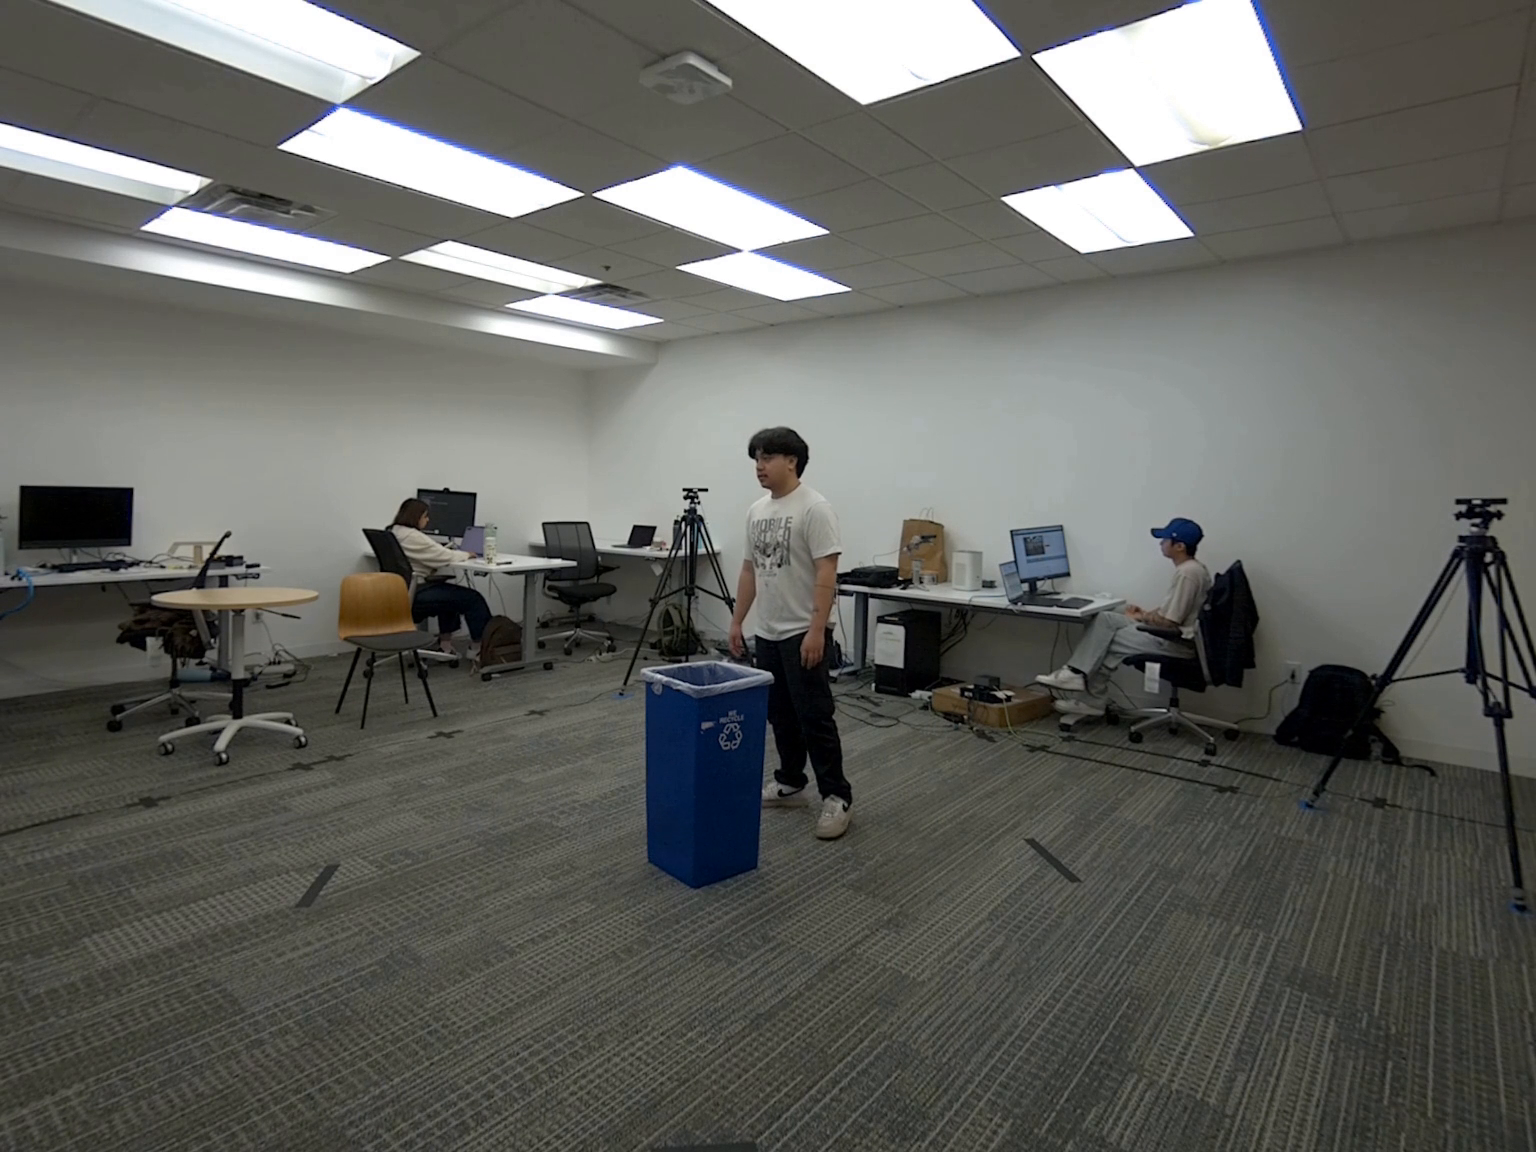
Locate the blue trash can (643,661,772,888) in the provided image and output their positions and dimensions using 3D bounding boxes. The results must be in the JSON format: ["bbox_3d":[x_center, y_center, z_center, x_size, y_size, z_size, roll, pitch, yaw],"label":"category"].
[{"bbox_3d":[-0.241,0.707,3.144,0.363,0.711,0.391,-2,4,-41],"label":"blue trash can"}]
